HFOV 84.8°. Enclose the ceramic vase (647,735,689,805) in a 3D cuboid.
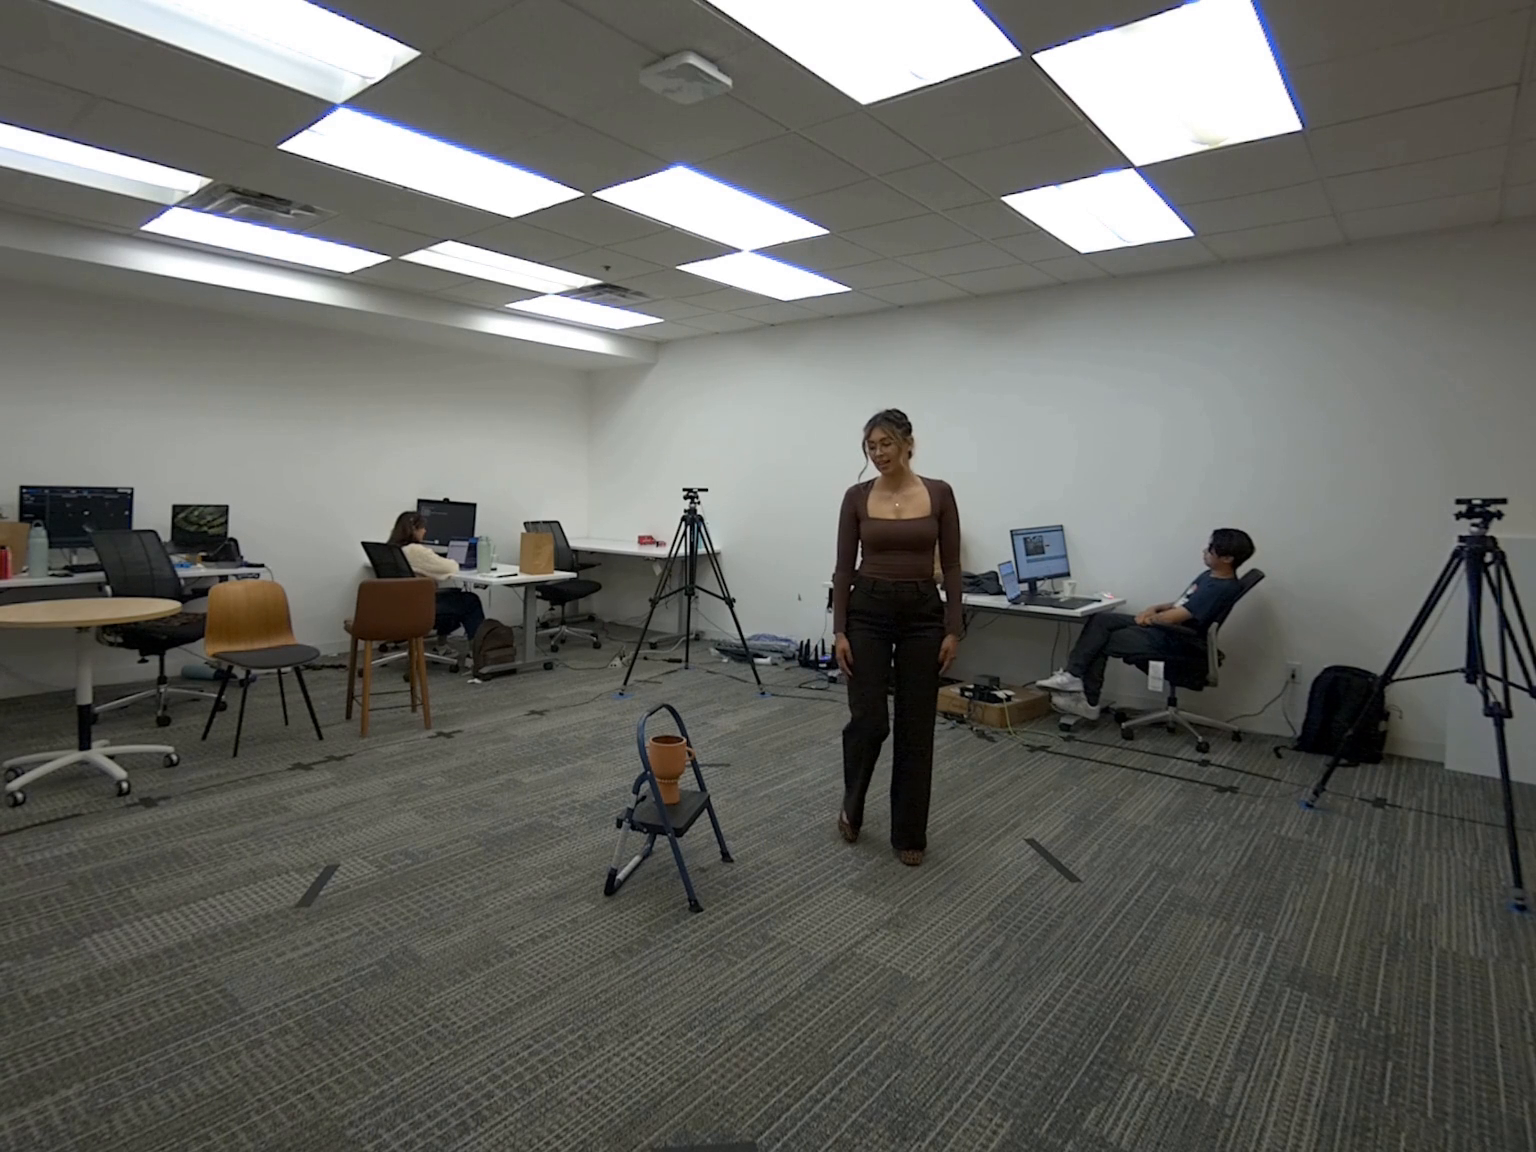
[{"bbox_3d":[-0.374,0.699,3.071,0.130,0.219,0.164,-2,4,-44],"label":"ceramic vase"}]
